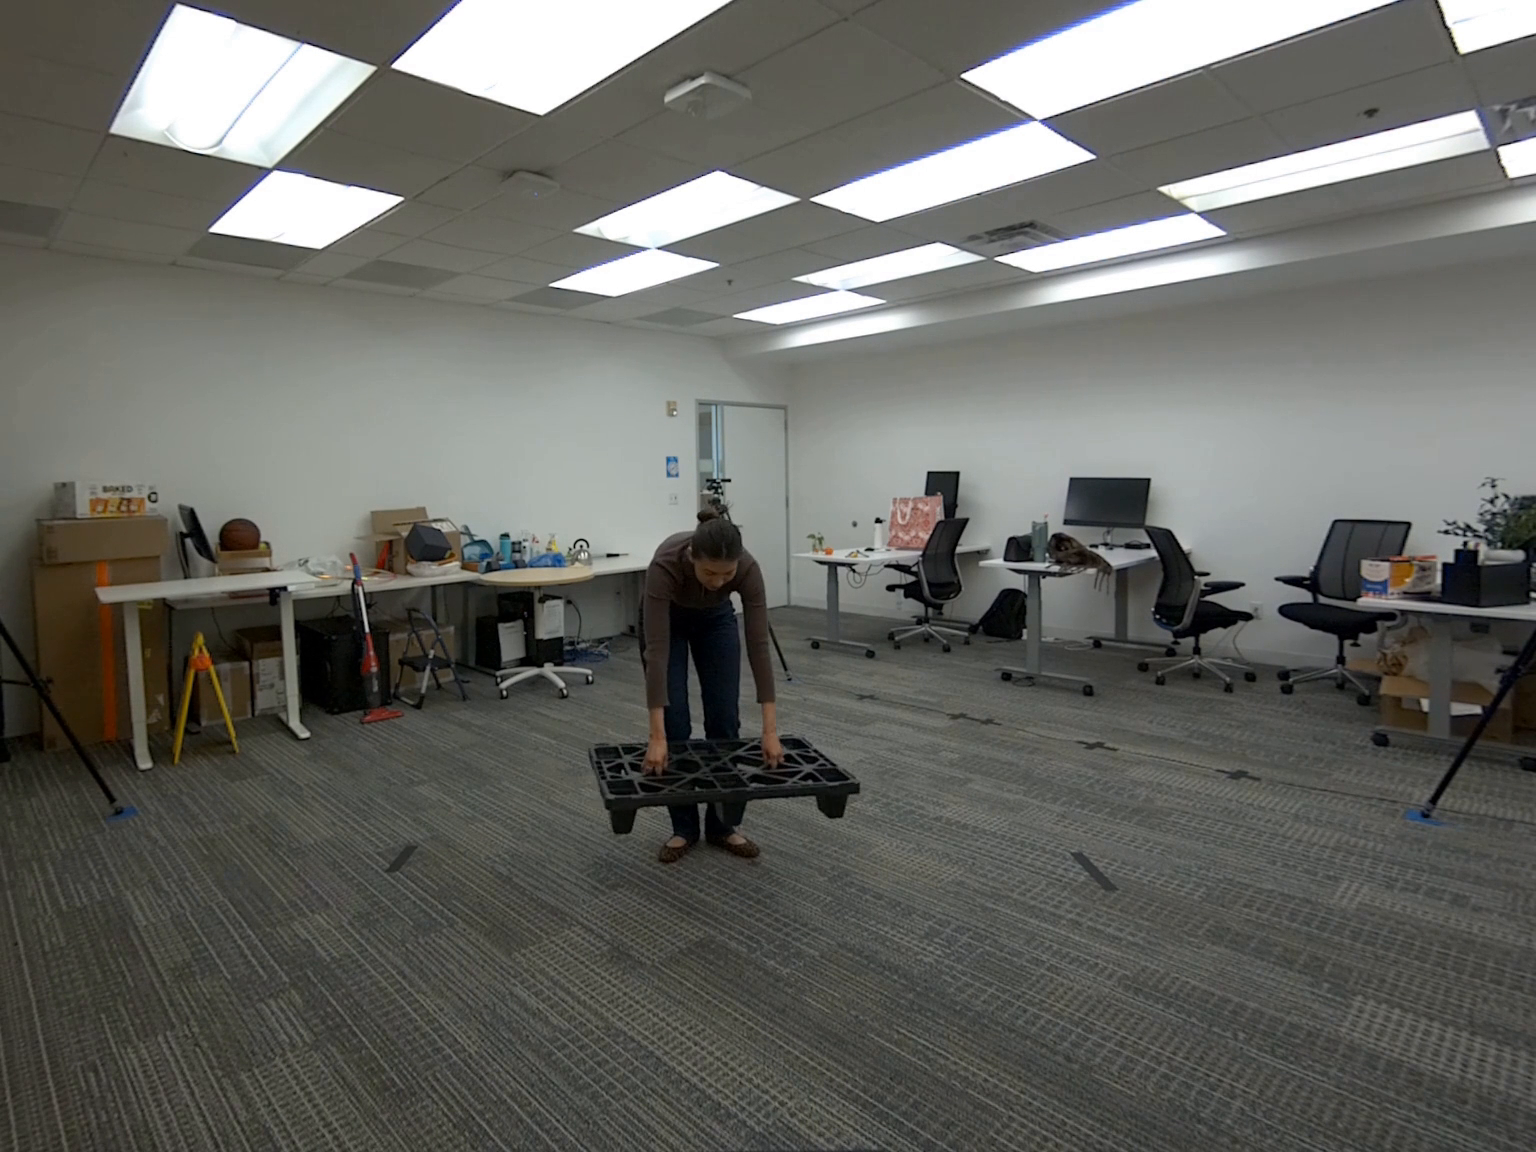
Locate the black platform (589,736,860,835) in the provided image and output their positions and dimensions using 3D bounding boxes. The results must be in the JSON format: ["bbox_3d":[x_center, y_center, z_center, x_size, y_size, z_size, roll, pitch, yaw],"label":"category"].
[{"bbox_3d":[-0.174,0.690,2.860,0.795,0.143,0.614,0,3,-14],"label":"black platform"}]
